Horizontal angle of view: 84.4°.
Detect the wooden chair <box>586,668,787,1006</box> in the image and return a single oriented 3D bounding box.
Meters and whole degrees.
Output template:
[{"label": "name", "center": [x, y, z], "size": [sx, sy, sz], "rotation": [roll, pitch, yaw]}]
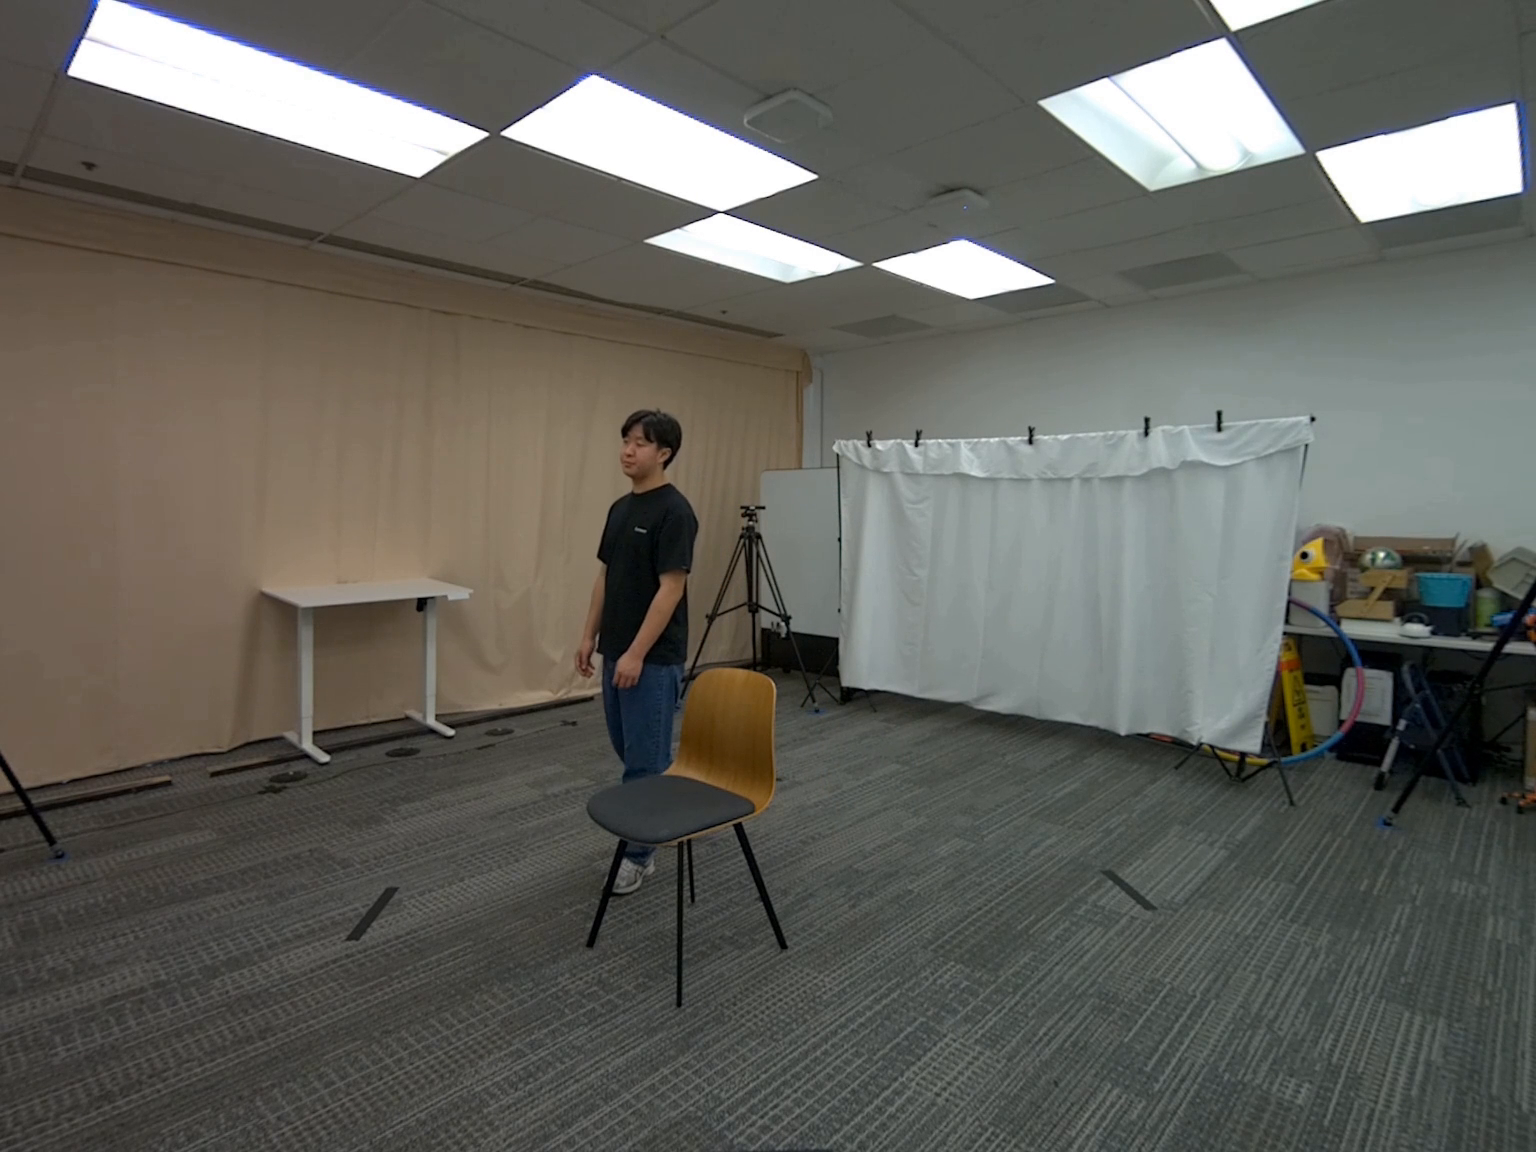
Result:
[{"label": "wooden chair", "center": [-0.255, 0.749, 2.619], "size": [0.494, 0.877, 0.506], "rotation": [3, 1, 44]}]
